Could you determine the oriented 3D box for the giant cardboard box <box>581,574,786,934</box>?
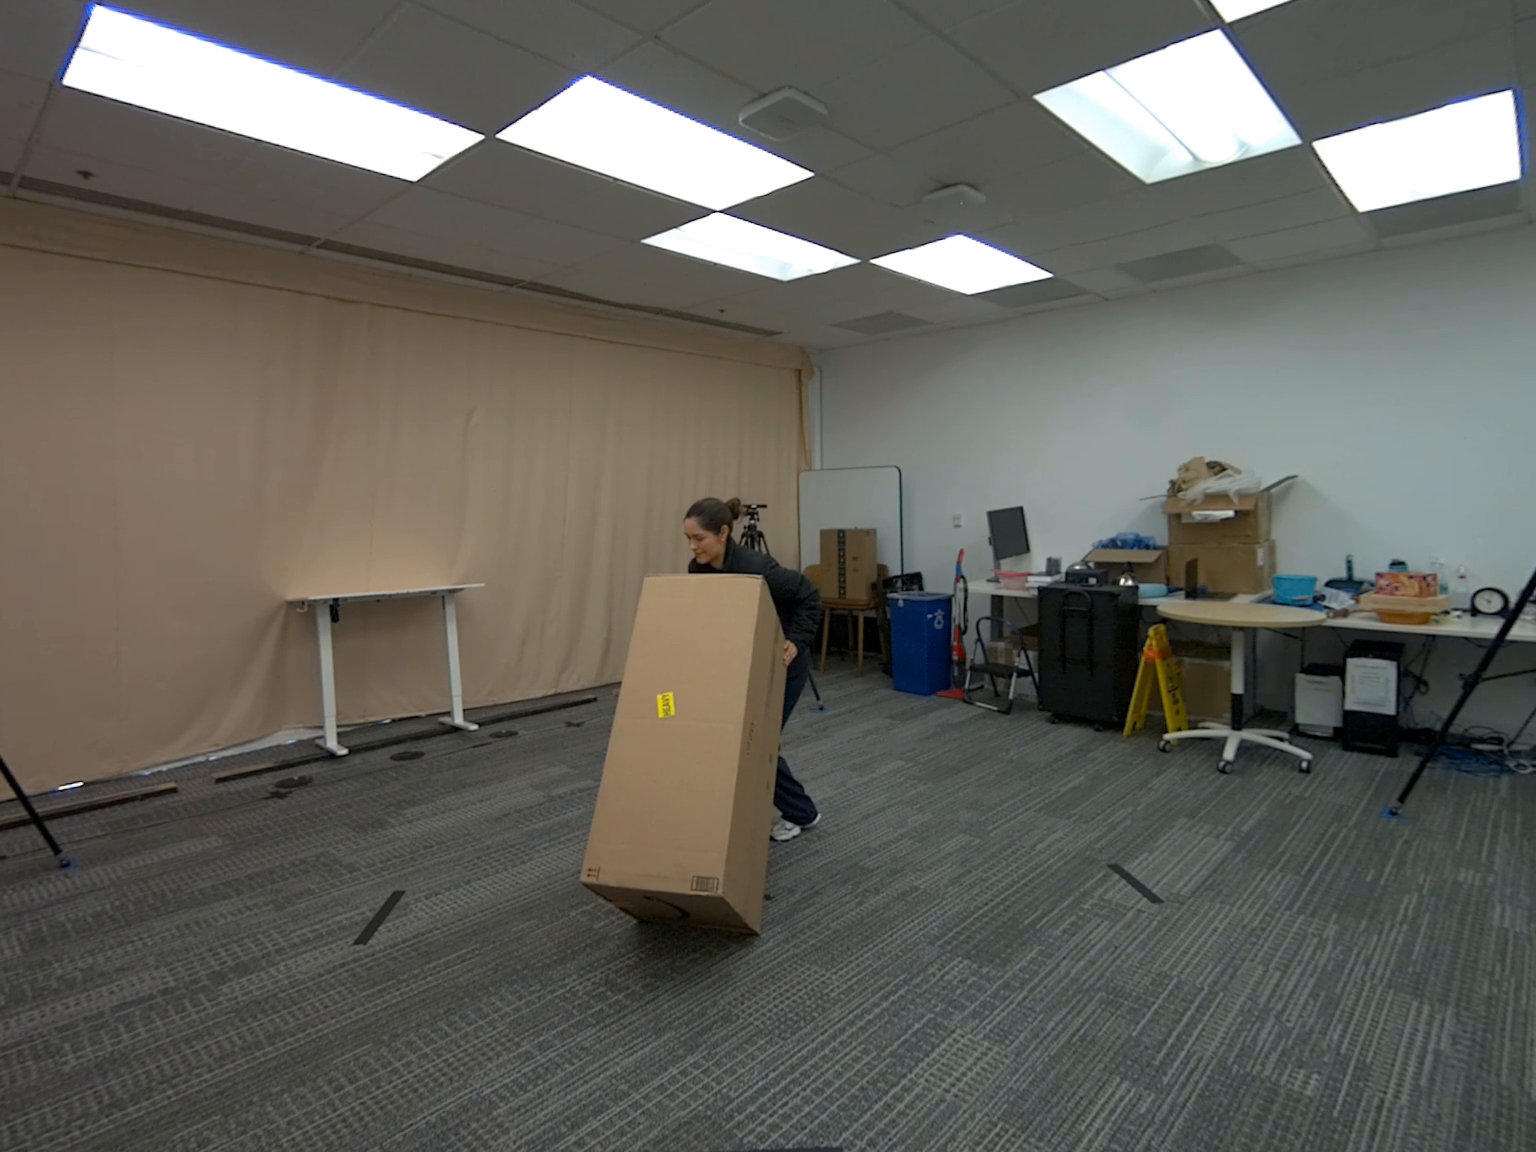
[{"bbox_3d":[-0.221,0.580,2.827,0.454,1.040,0.568,-2,-33,13],"label":"giant cardboard box"}]
